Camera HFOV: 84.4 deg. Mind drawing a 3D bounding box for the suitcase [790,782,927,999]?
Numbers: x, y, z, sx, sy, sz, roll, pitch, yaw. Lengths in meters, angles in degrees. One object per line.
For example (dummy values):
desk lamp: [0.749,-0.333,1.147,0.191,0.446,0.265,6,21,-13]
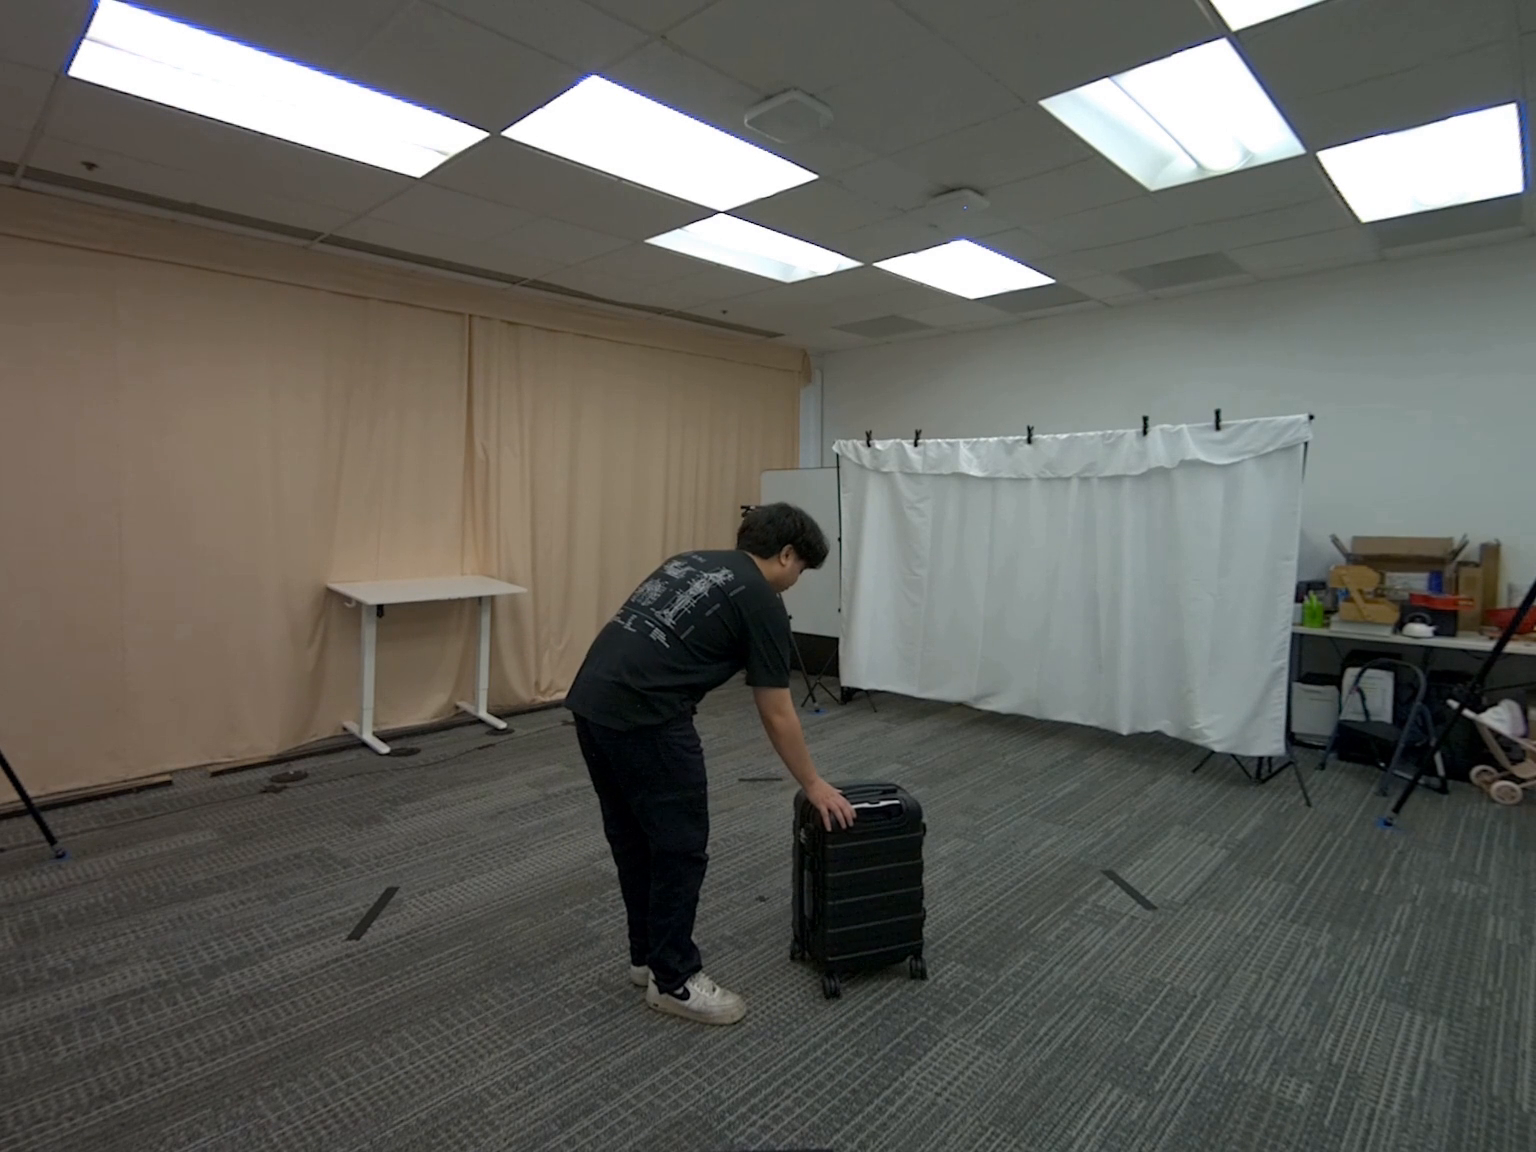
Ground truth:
suitcase: [0.273,0.907,2.543,0.368,0.549,0.253,-1,1,-21]
